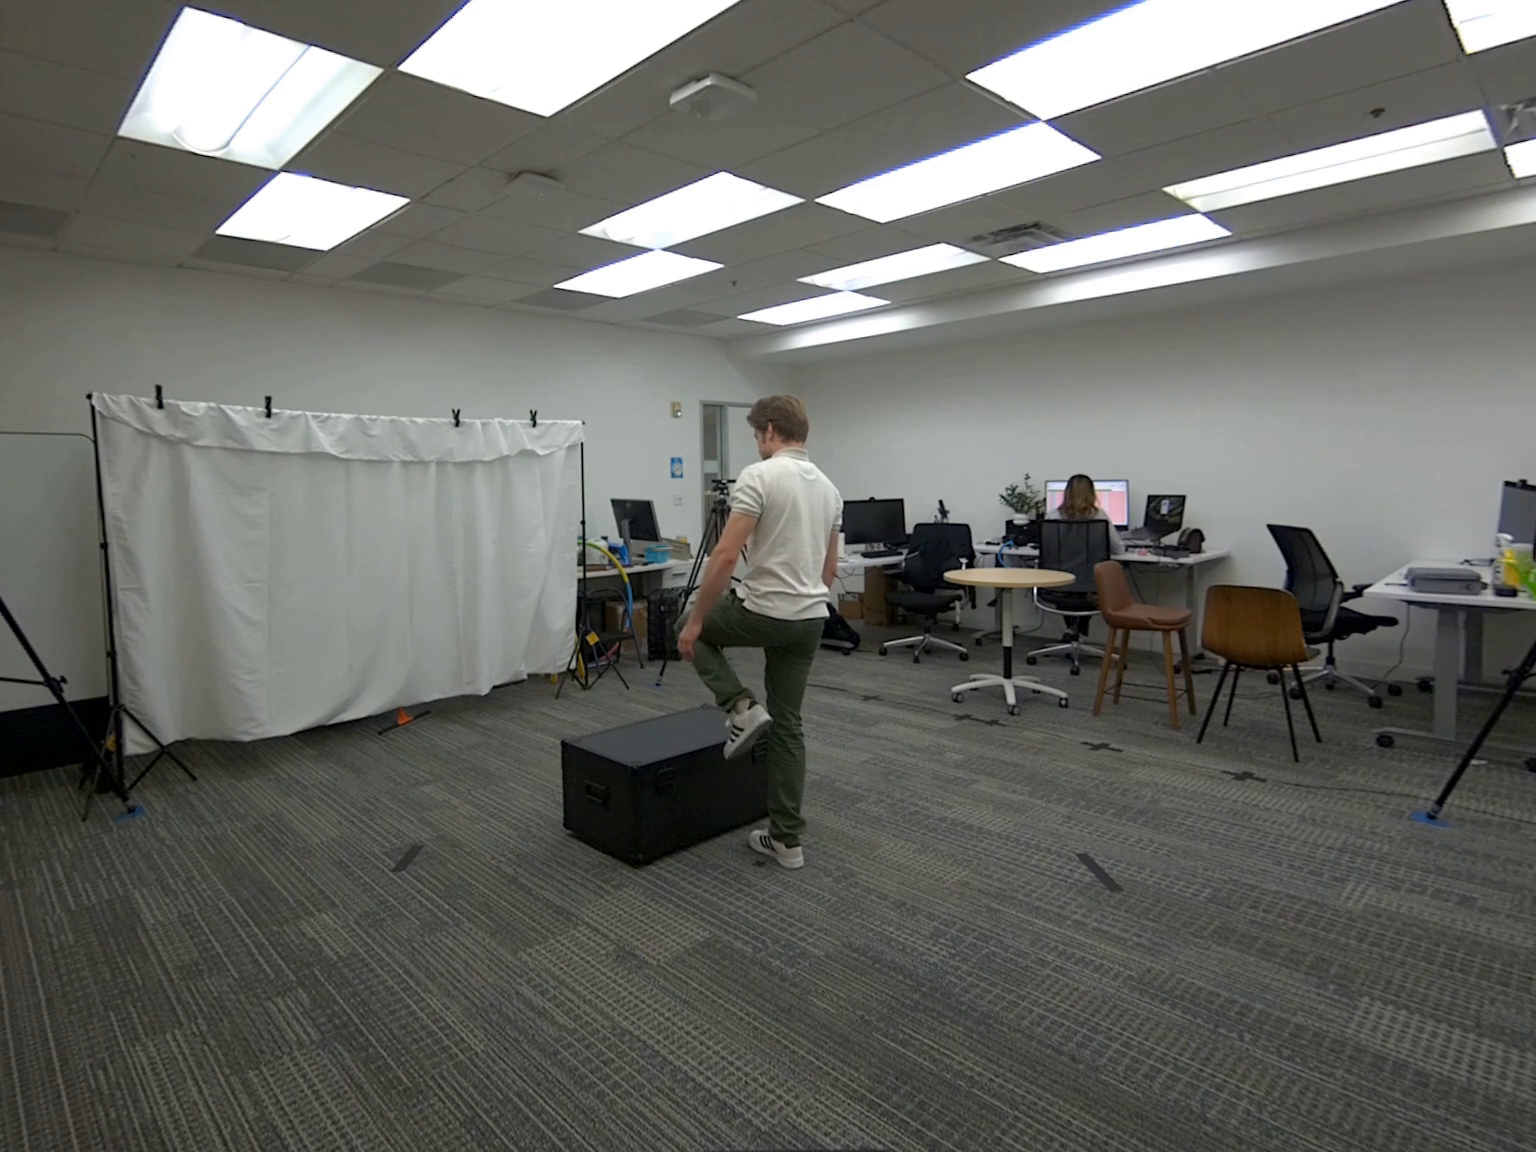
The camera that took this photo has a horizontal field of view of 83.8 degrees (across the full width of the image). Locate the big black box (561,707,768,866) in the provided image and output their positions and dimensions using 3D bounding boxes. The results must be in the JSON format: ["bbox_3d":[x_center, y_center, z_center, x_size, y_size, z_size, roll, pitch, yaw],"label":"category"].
[{"bbox_3d":[-0.347,0.814,3.507,0.845,0.384,0.539,-6,6,-44],"label":"big black box"}]
